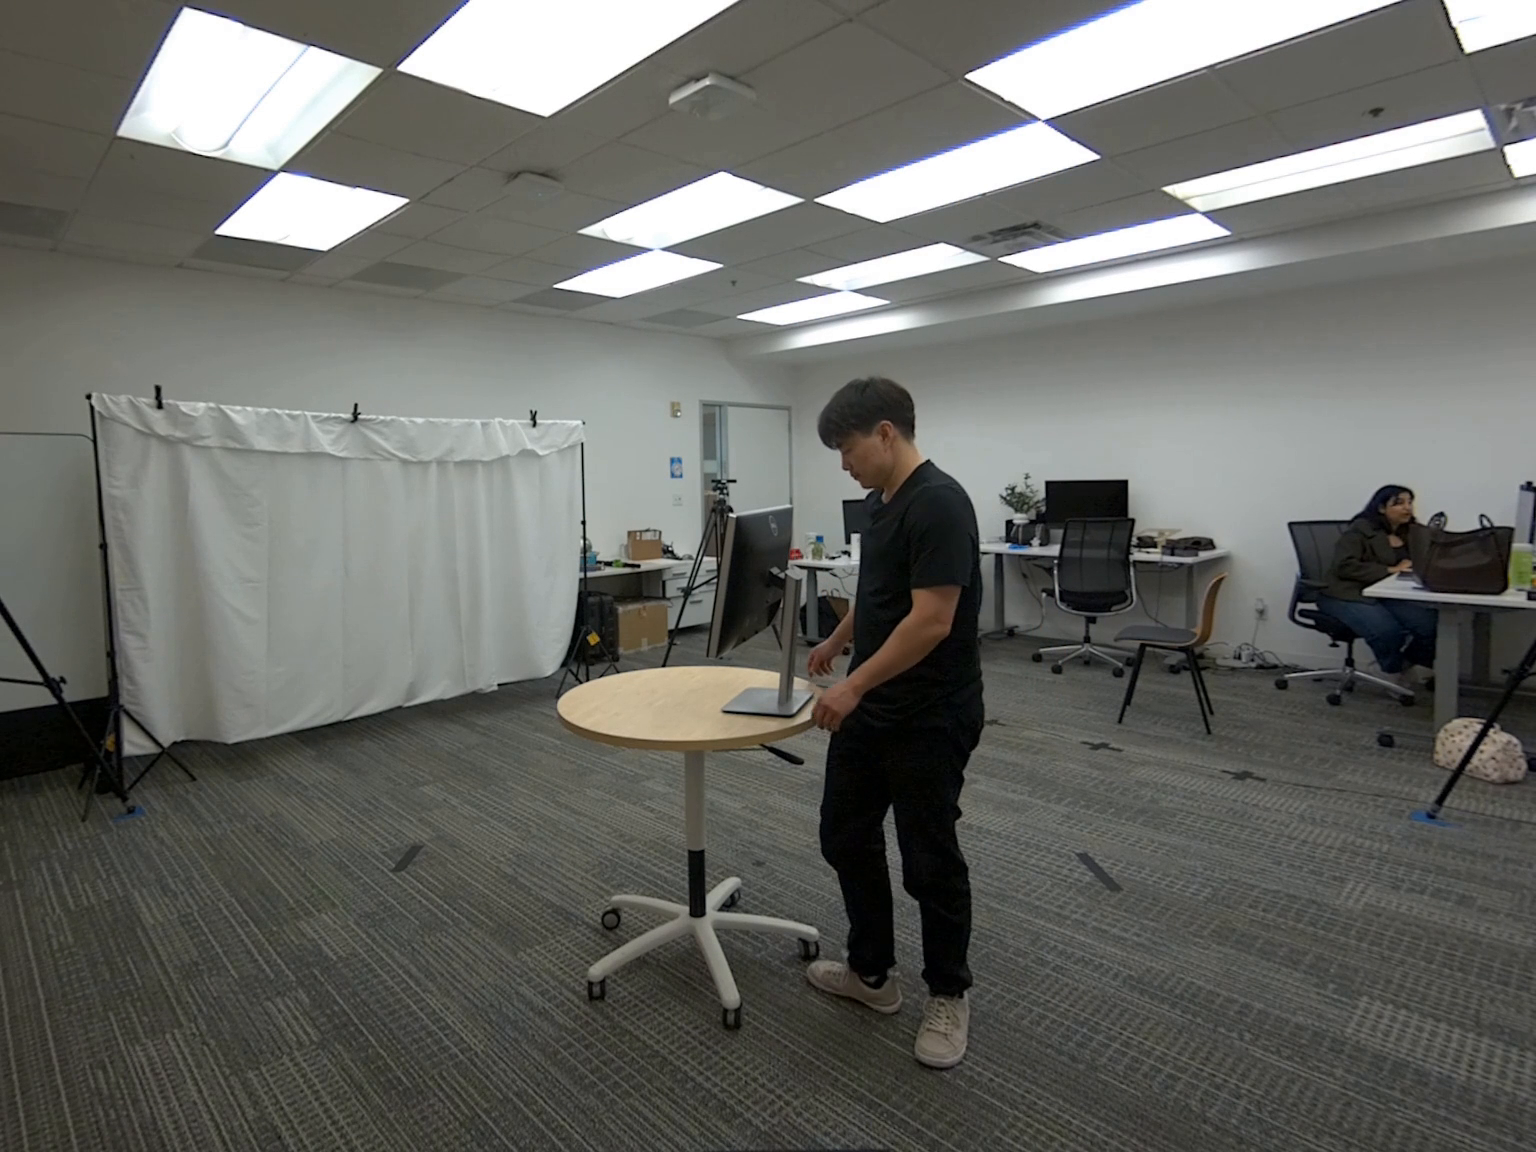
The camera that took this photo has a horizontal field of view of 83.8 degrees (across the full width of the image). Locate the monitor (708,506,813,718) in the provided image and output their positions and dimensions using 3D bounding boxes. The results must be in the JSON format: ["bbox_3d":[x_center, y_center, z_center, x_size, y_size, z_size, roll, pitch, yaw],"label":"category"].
[{"bbox_3d":[0.003,0.088,2.343,0.190,0.520,0.533,-1,6,16],"label":"monitor"}]
